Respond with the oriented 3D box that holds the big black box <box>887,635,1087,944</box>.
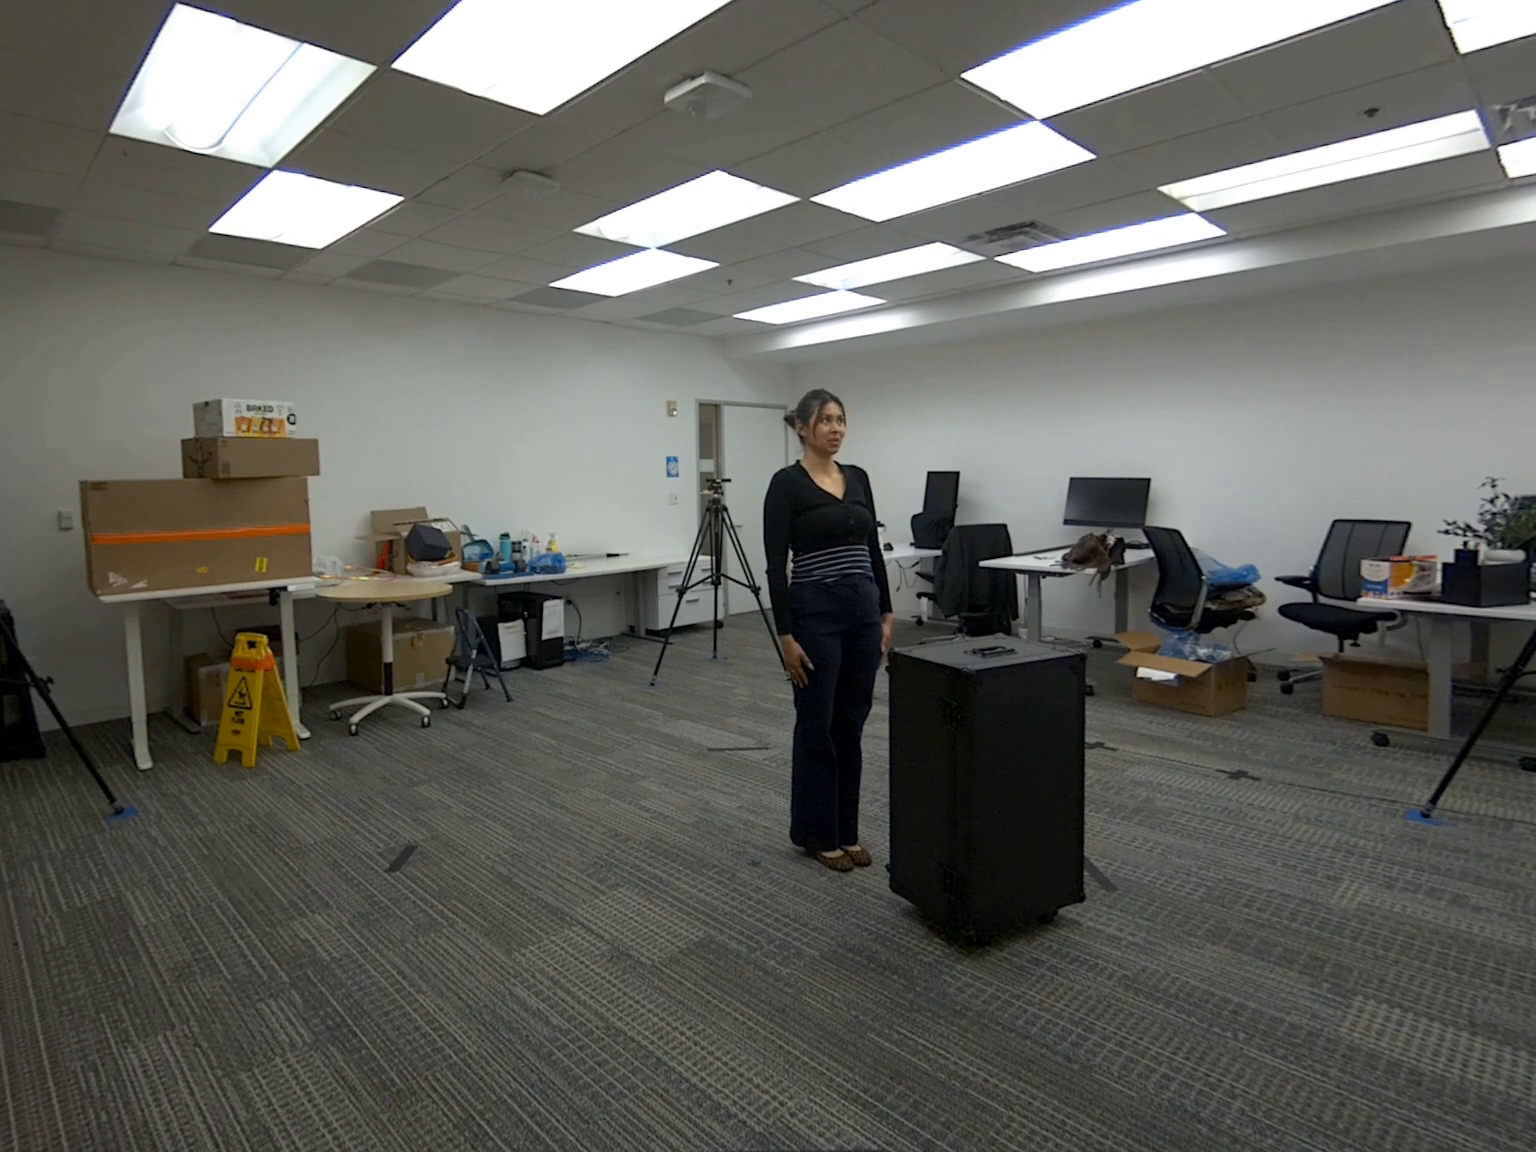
[{"bbox_3d":[0.676,0.654,2.678,0.509,0.858,0.407,-4,4,-29],"label":"big black box"}]
